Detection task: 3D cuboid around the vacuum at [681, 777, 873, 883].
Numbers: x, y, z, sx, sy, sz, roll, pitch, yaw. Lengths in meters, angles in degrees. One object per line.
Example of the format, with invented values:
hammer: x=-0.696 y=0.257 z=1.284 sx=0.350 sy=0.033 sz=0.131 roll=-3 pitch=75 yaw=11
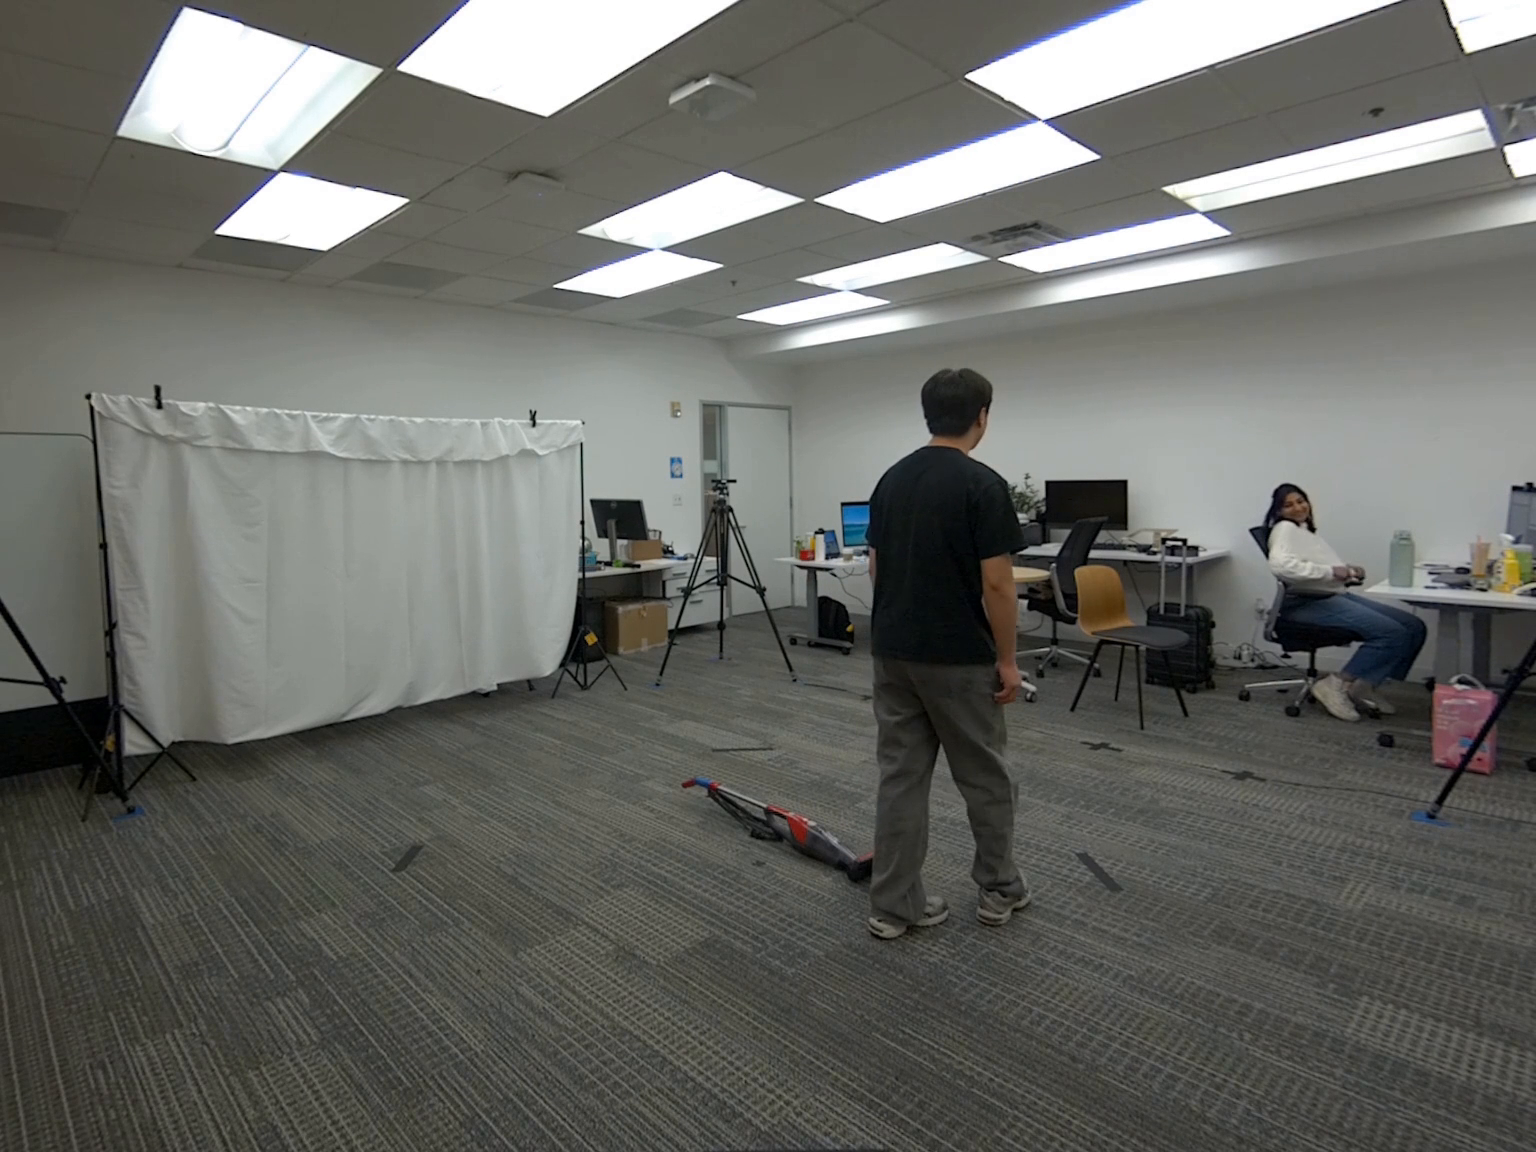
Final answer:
vacuum: x=0.007 y=0.965 z=3.353 sx=0.246 sy=0.143 sz=1.082 roll=-4 pitch=7 yaw=-42
